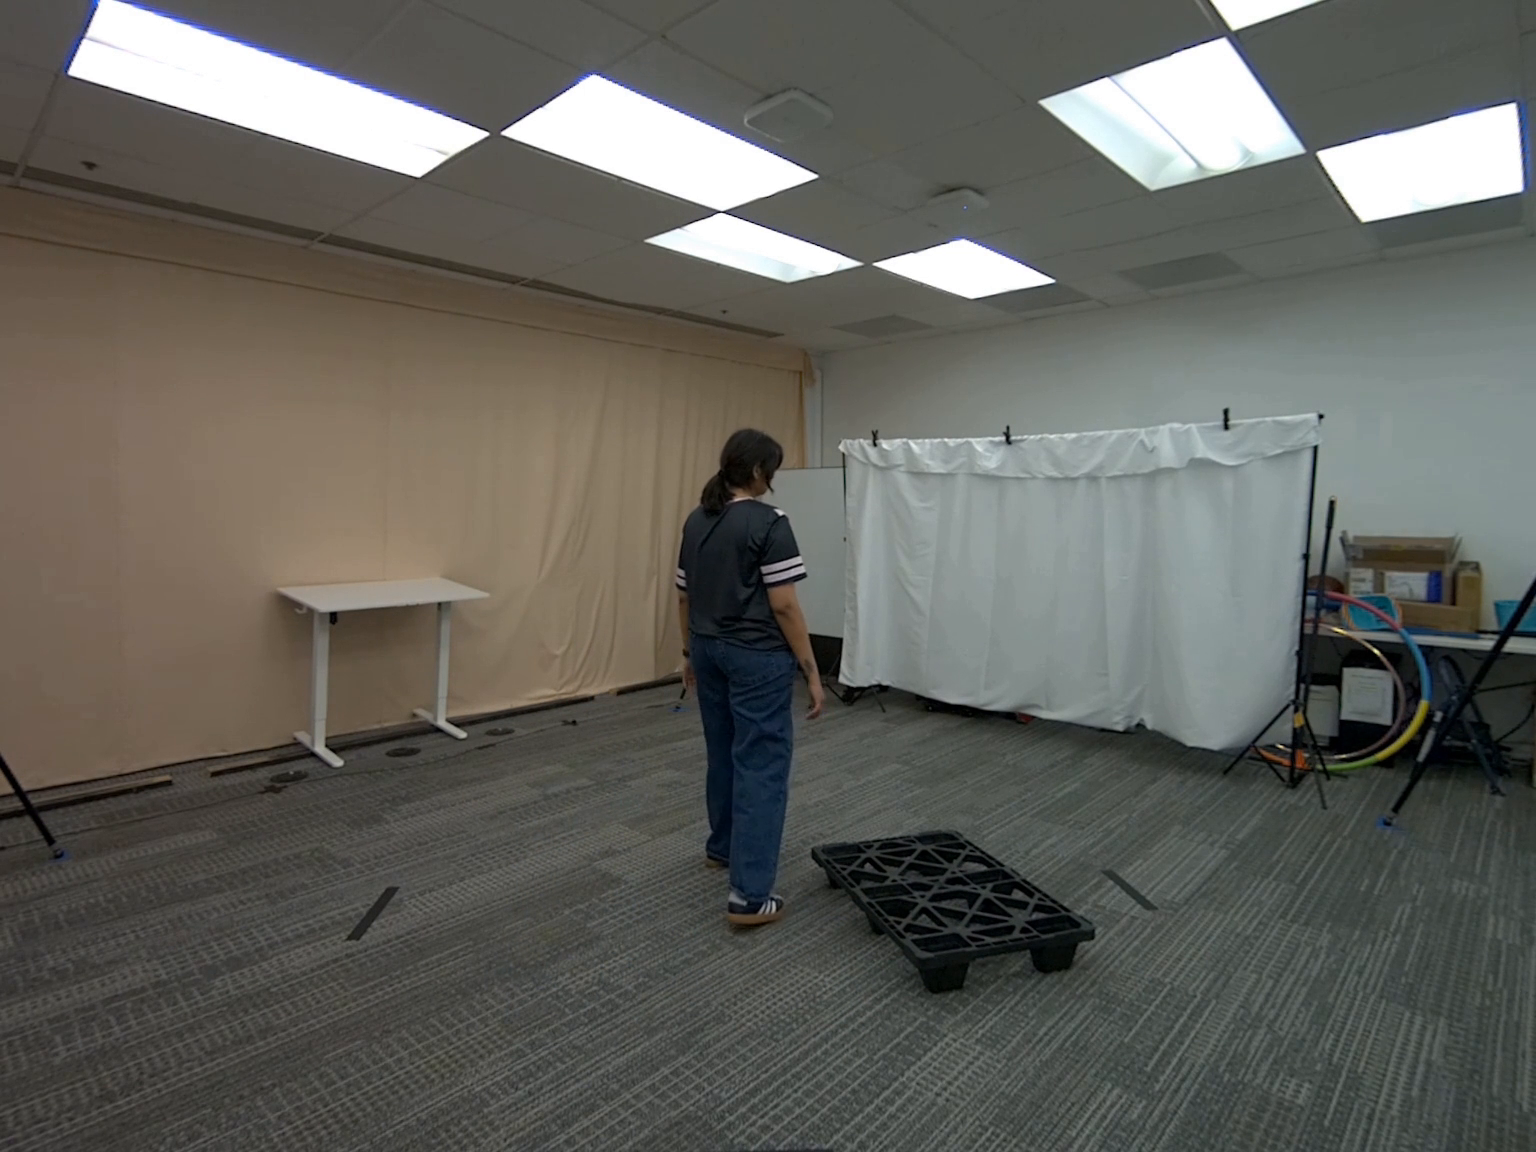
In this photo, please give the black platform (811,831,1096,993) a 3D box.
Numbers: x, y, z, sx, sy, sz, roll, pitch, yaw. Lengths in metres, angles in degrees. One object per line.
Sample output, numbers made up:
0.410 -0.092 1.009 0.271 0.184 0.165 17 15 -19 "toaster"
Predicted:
0.577 1.090 2.809 0.594 0.143 0.822 -1 5 -18 "black platform"
